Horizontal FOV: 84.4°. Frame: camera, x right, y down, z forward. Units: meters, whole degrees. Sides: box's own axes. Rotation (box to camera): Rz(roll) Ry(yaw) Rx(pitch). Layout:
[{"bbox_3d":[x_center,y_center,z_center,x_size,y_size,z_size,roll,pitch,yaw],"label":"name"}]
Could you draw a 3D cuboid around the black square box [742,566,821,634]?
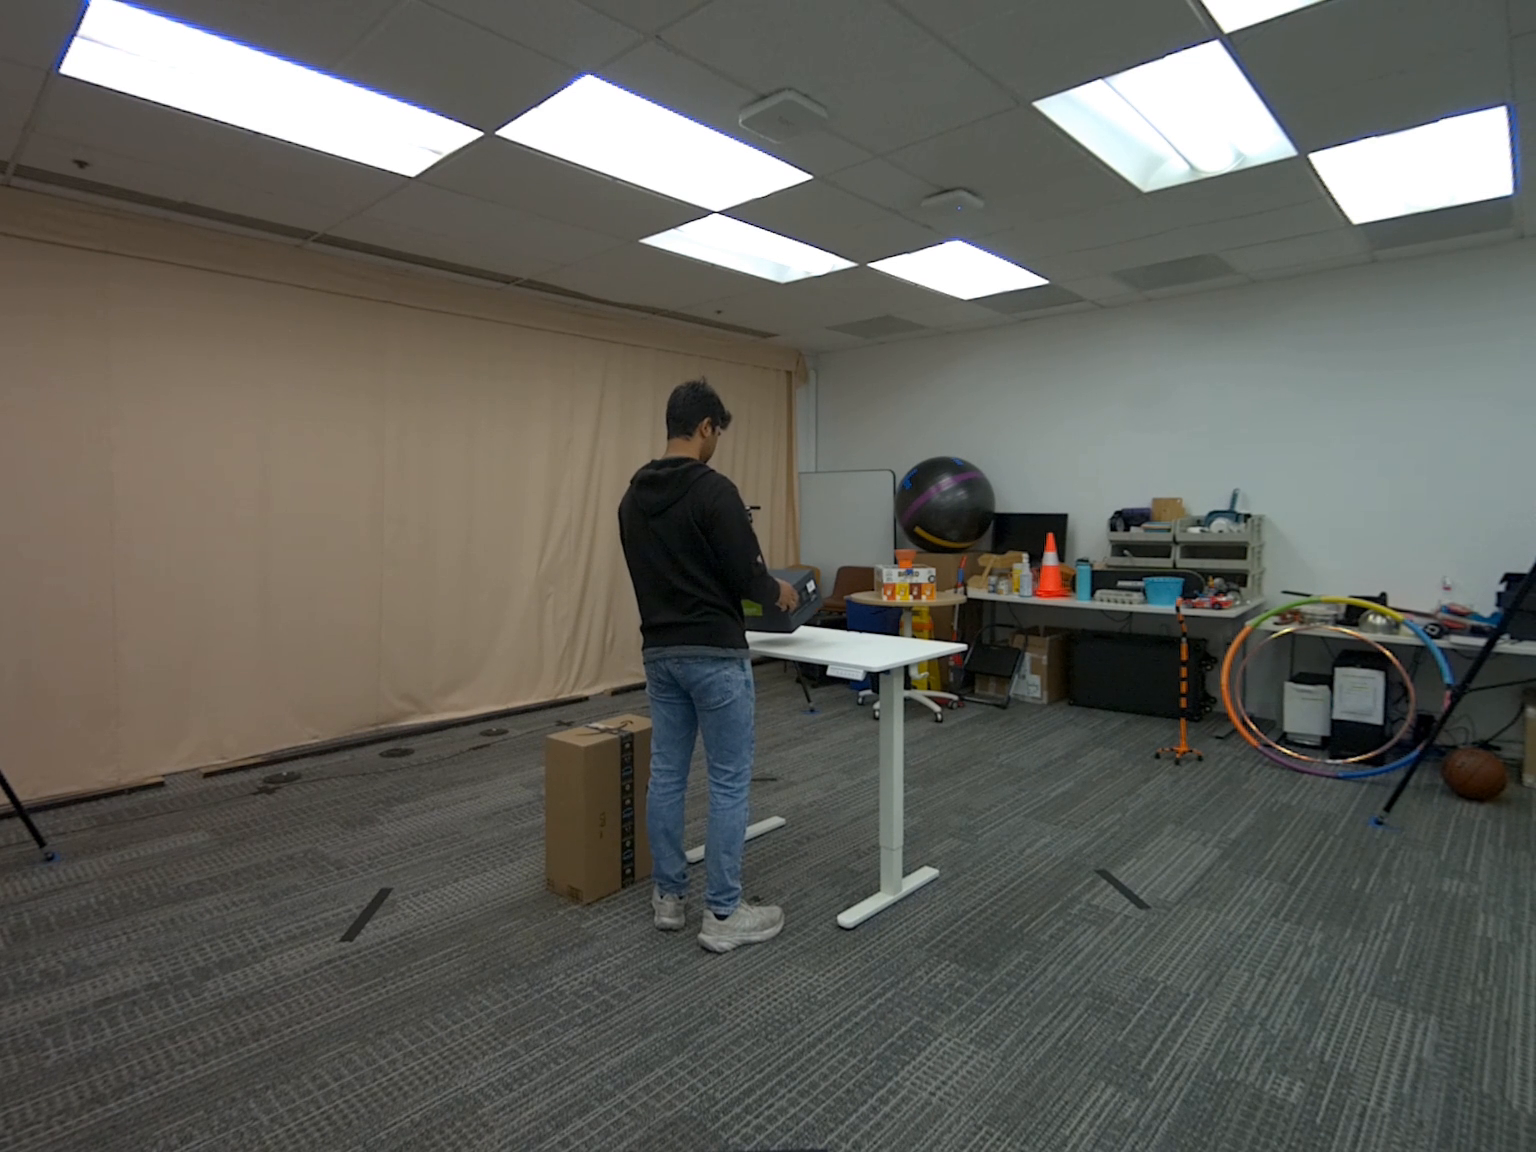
[{"bbox_3d":[0.037,0.093,3.136,0.235,0.153,0.214,-1,25,41],"label":"black square box"}]
